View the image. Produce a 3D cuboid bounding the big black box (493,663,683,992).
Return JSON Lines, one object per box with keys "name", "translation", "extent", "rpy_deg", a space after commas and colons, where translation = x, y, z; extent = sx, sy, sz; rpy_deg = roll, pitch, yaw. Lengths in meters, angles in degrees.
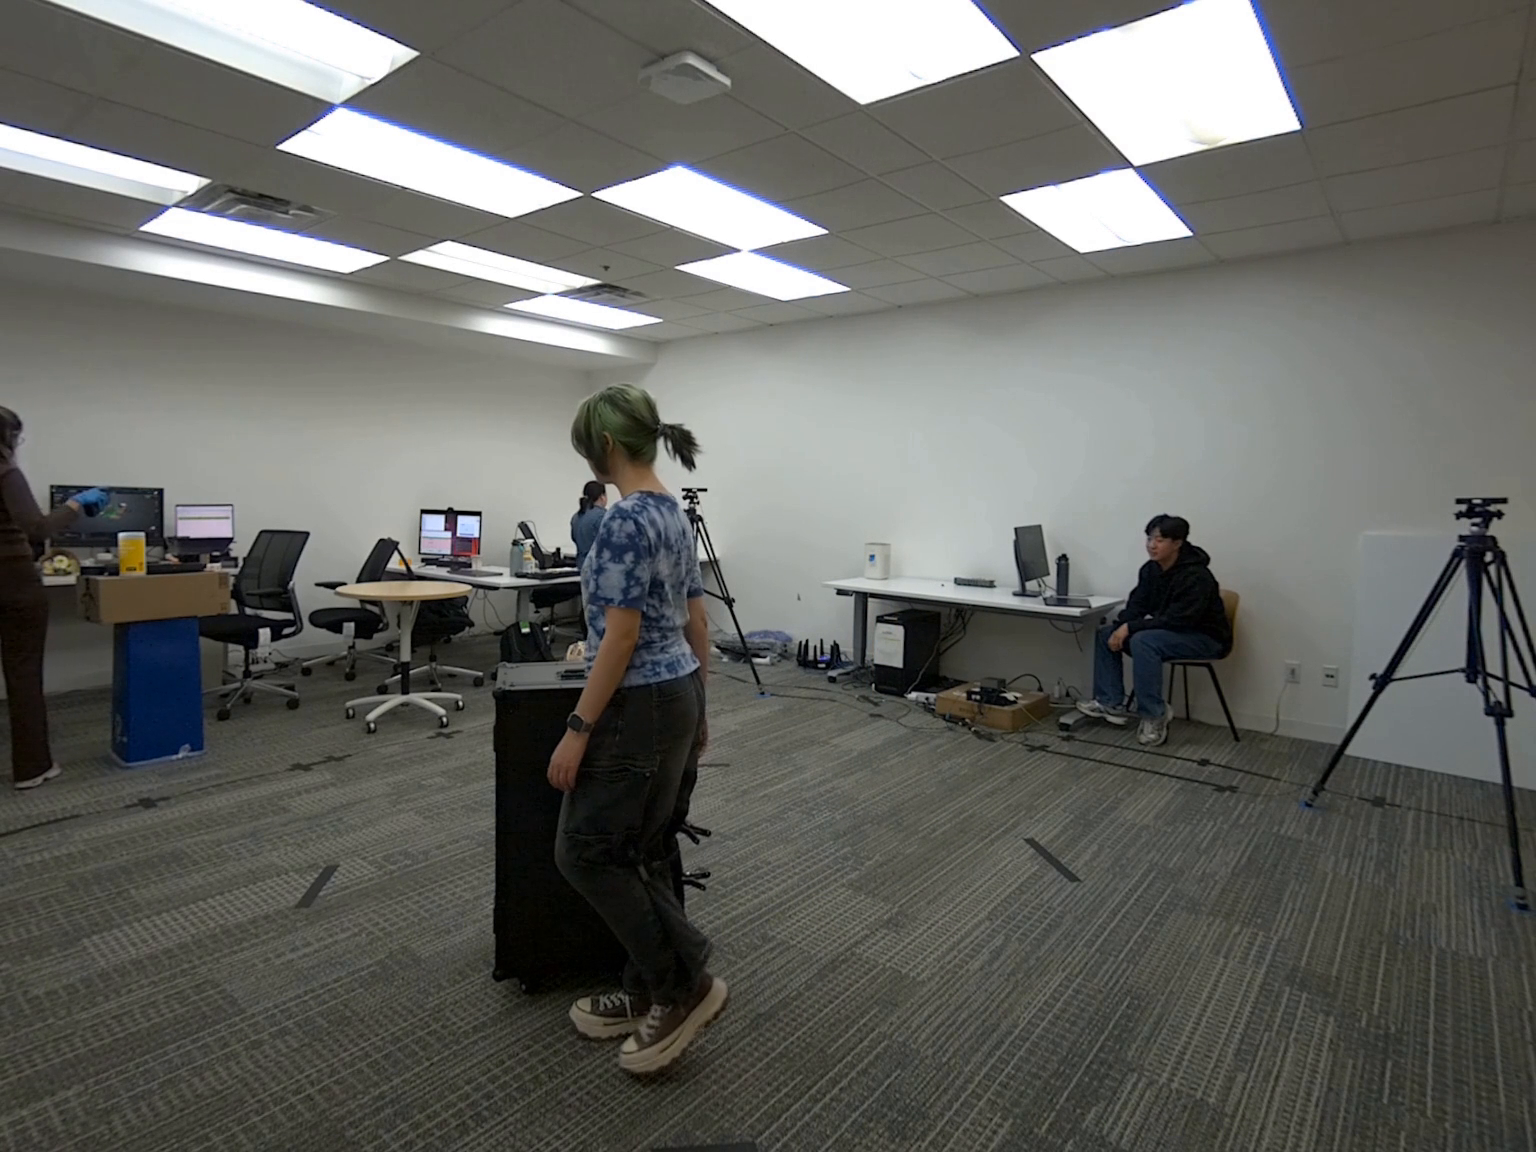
{"name": "big black box", "translation": [-0.561, 0.704, 2.476], "extent": [0.514, 0.860, 0.403], "rpy_deg": [0, 3, -14]}
